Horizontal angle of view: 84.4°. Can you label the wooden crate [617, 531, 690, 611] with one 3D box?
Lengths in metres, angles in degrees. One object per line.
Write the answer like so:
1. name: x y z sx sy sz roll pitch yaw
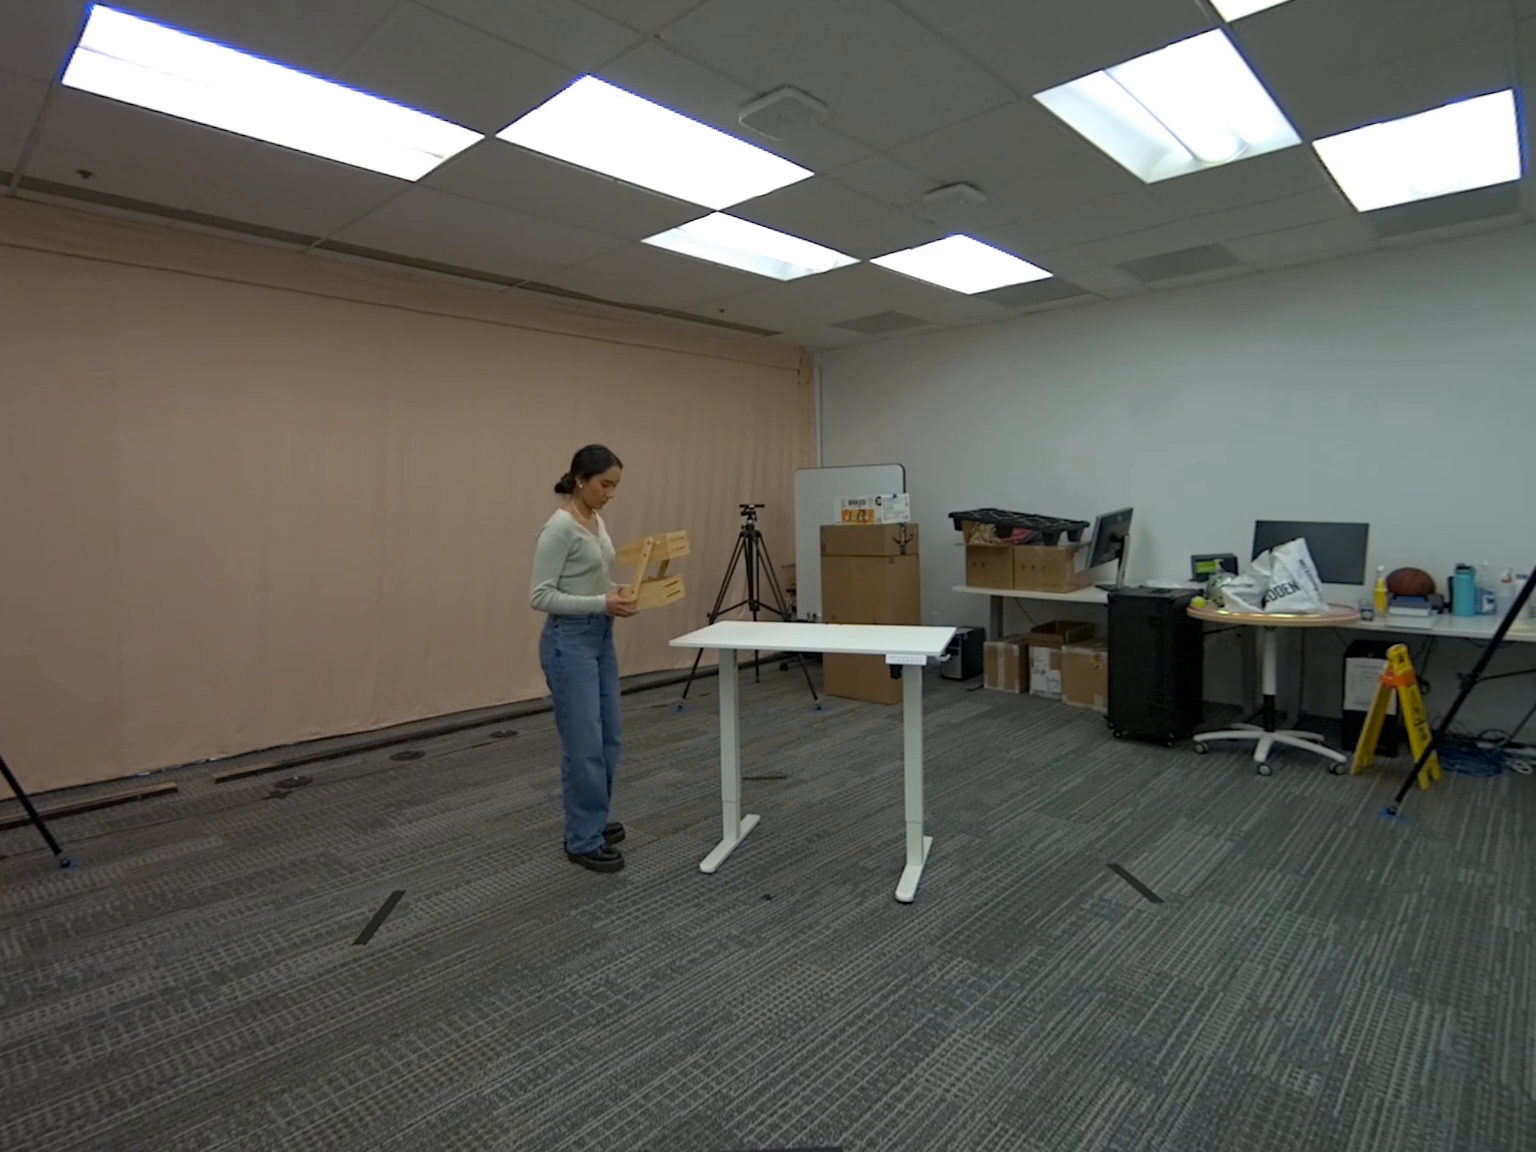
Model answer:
1. wooden crate: -0.485 -0.020 3.271 0.306 0.273 0.320 -8 3 15
